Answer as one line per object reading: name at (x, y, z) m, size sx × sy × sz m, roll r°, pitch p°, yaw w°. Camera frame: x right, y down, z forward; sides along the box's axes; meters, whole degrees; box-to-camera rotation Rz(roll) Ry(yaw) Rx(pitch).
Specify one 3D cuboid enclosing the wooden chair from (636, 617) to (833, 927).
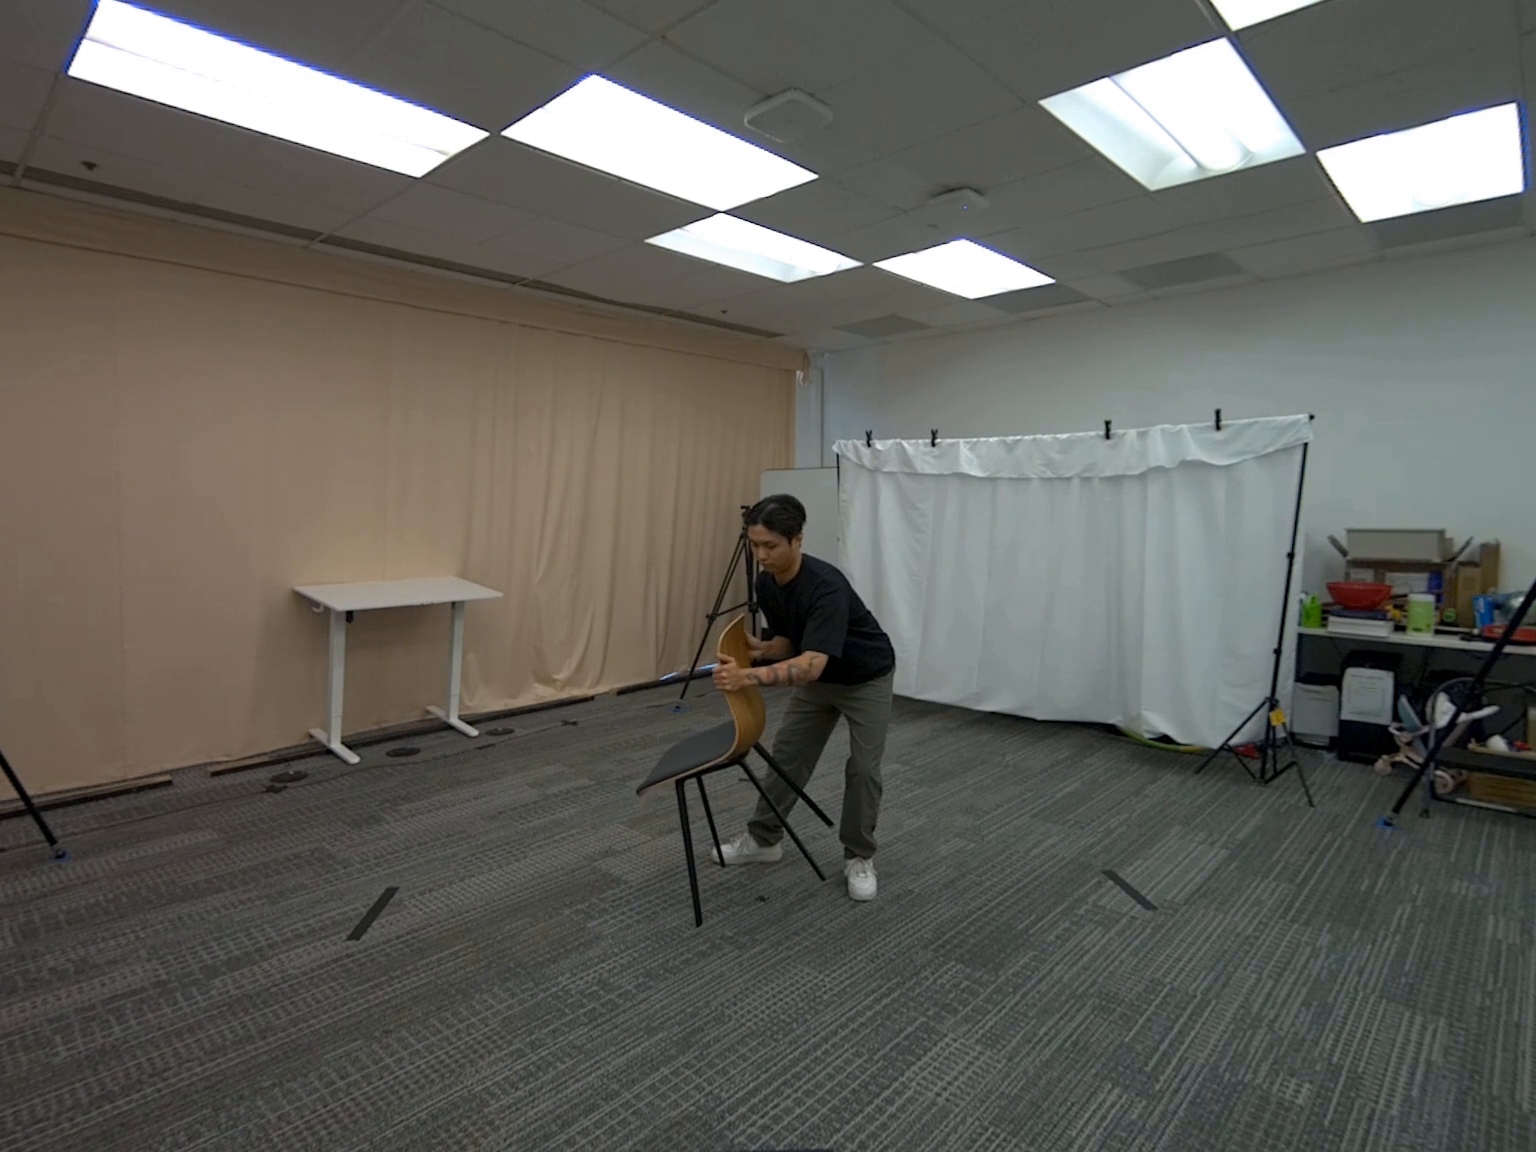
wooden chair at (-0.176, 0.633, 2.872) m, size 0.528 × 0.877 × 0.474 m, roll -20°, pitch 1°, yaw 11°
